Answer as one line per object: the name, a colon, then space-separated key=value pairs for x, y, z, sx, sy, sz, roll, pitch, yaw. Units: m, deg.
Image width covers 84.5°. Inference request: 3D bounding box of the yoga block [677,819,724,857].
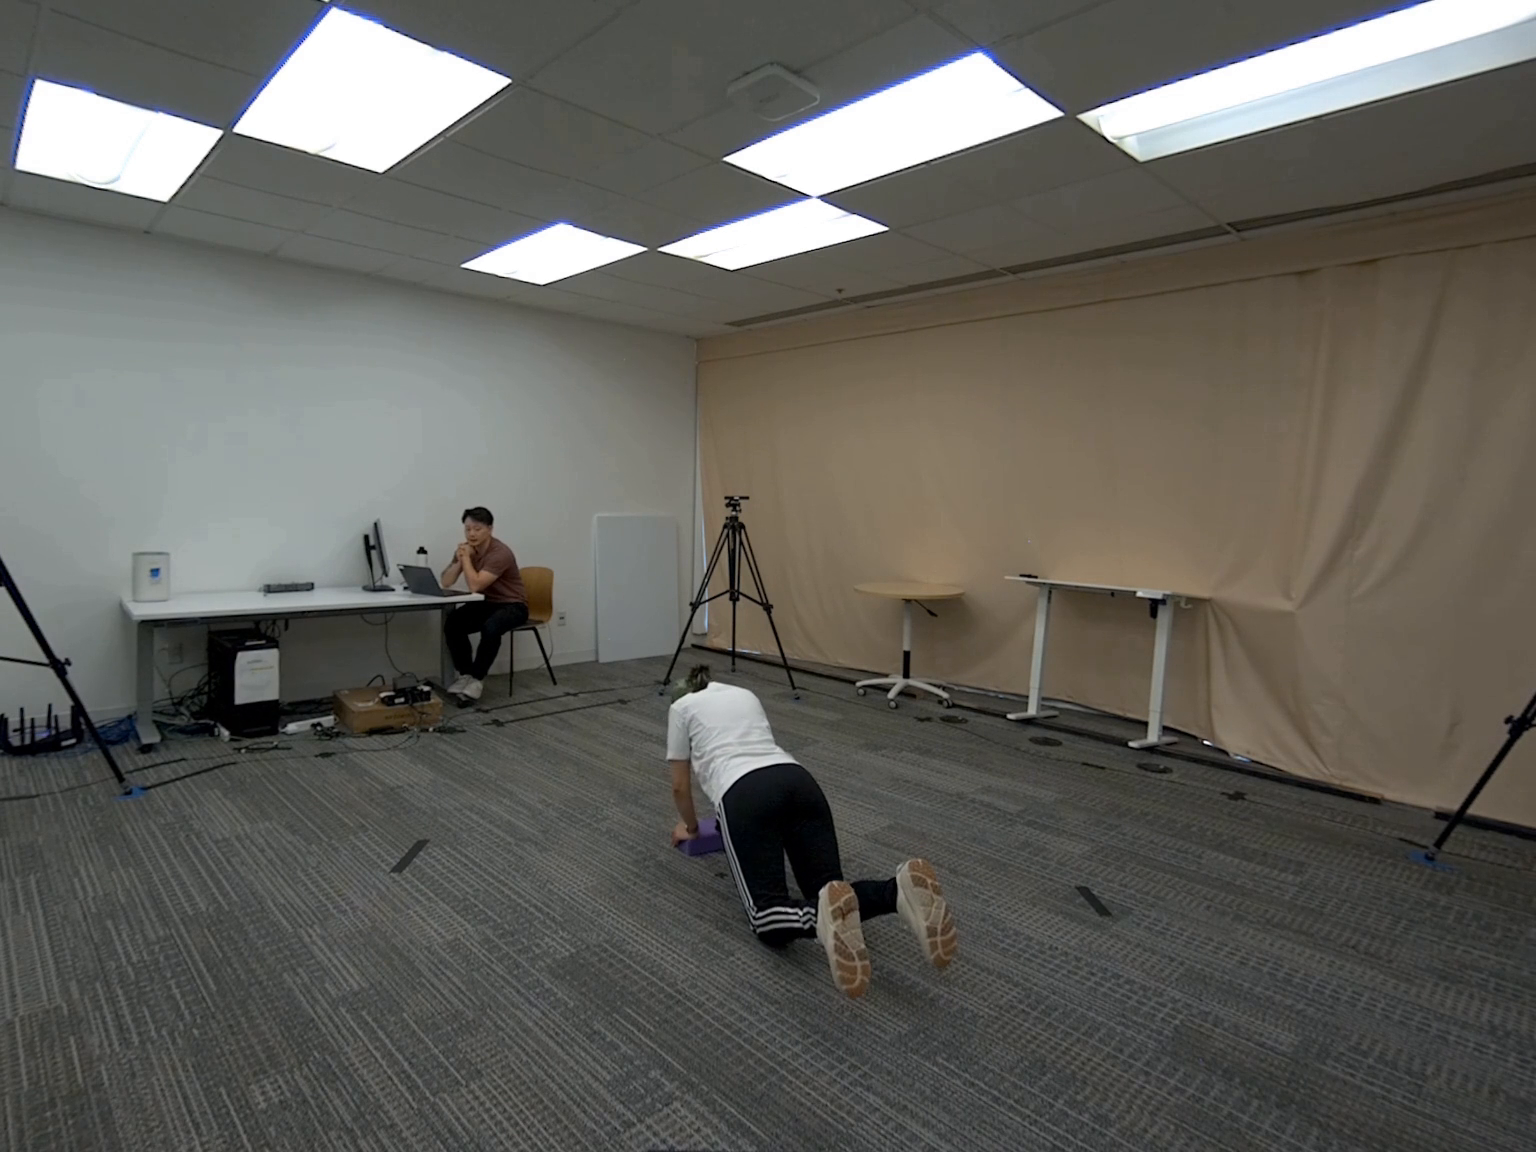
yoga block: x=-0.254 y=1.043 z=3.365 sx=0.225 sy=0.076 sz=0.152 roll=-2 pitch=4 yaw=-30
